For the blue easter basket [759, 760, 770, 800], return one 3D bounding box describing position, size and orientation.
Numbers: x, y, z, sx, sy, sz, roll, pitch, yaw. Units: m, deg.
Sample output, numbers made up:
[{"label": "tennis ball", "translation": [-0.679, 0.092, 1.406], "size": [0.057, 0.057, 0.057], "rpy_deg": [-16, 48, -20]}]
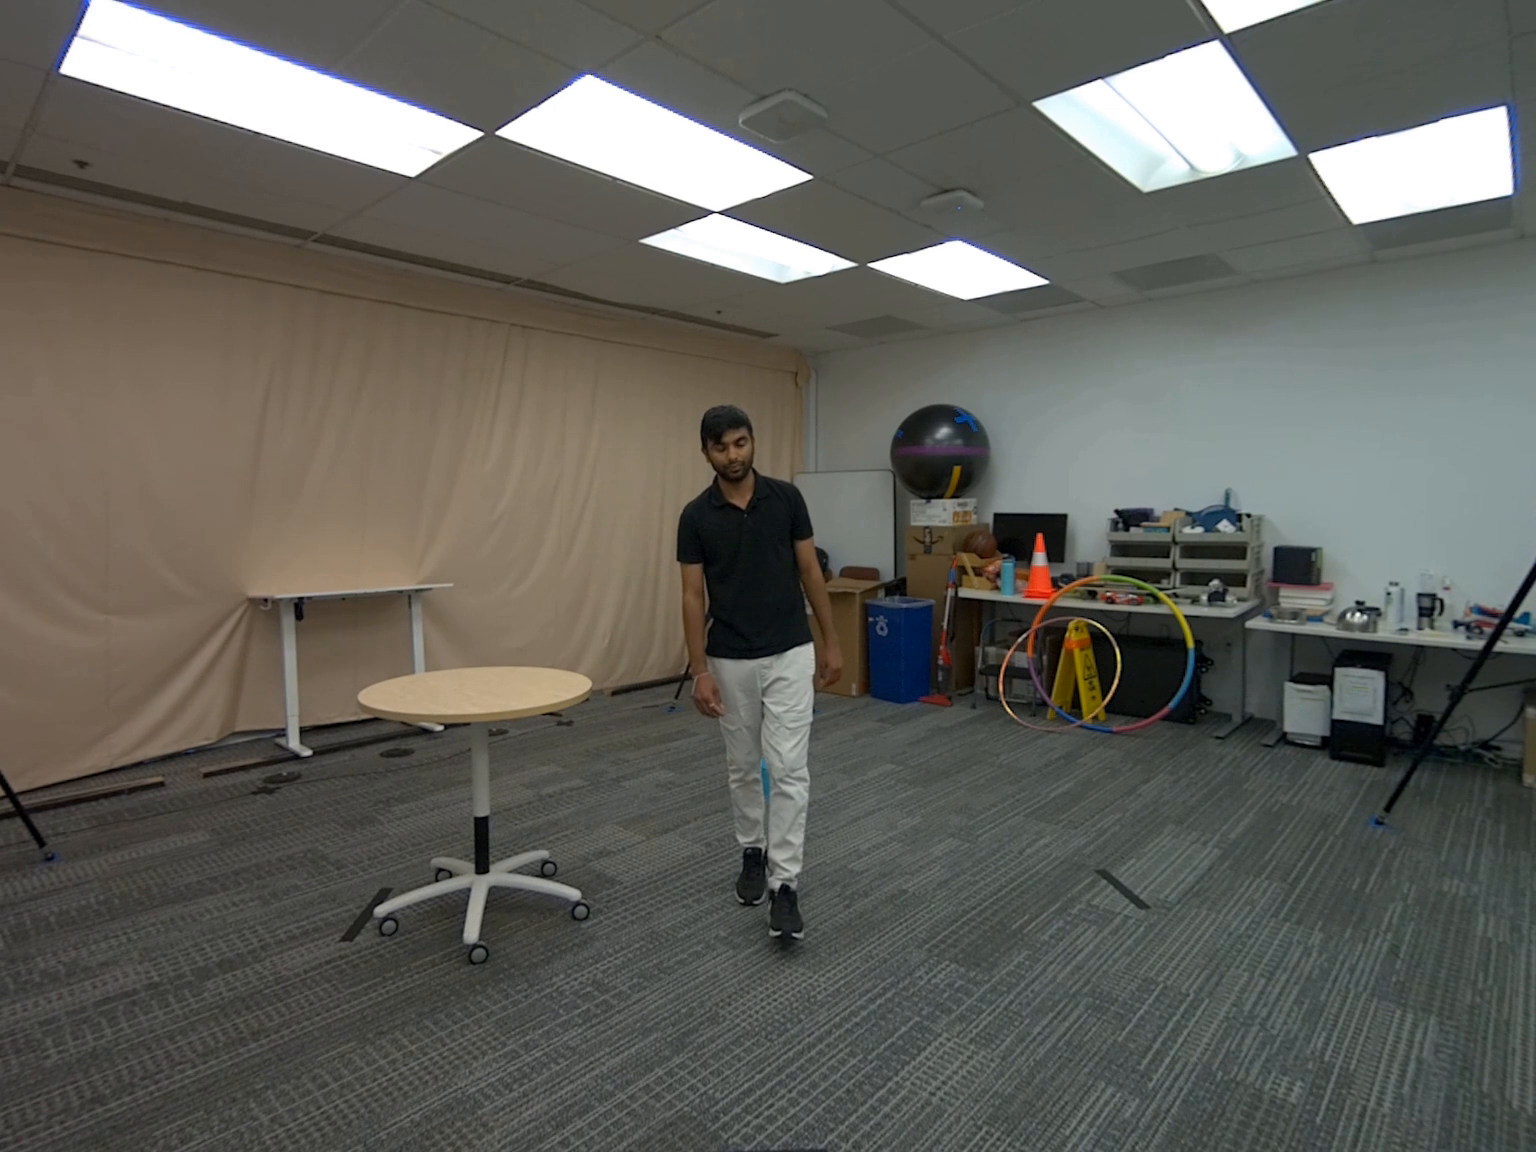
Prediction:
[{"label": "blue easter basket", "translation": [0.025, 0.971, 4.114], "size": [0.243, 0.155, 0.244], "rpy_deg": [-1, 4, -2]}]
